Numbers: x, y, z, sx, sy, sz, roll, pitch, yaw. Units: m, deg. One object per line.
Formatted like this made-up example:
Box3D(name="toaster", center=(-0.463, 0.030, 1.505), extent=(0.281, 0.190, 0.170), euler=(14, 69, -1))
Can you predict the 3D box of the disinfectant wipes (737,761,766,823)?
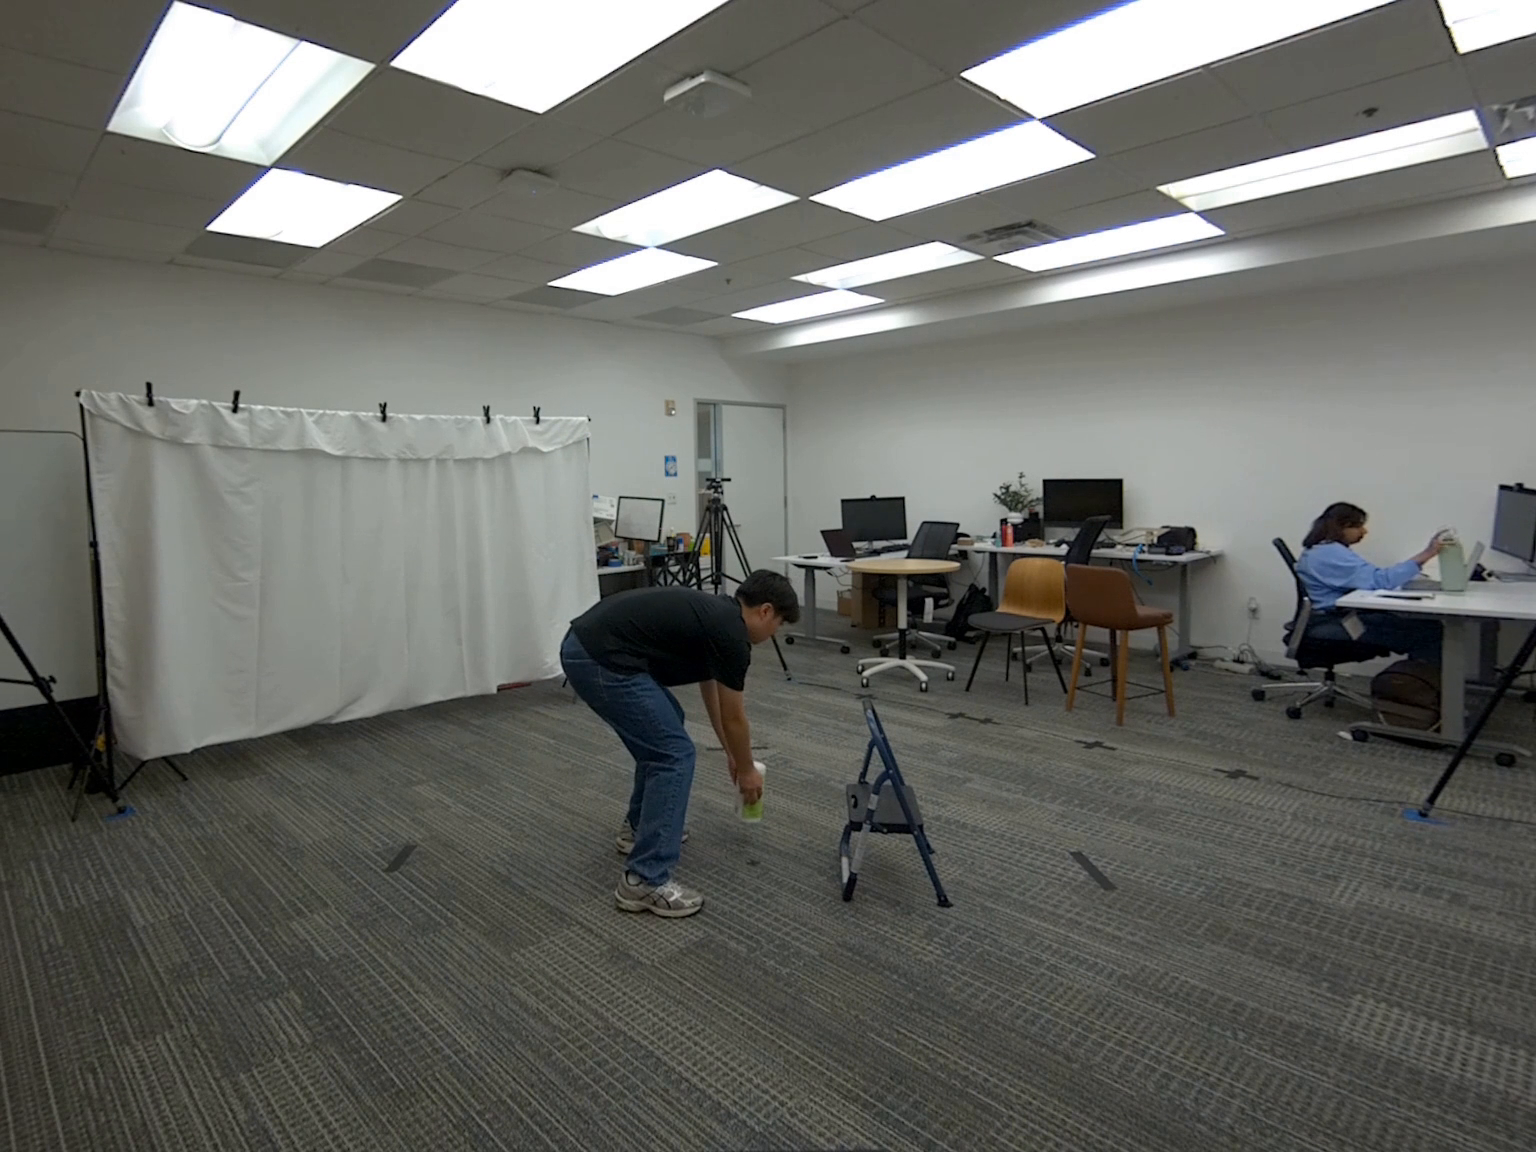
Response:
Box3D(name="disinfectant wipes", center=(-0.074, 0.839, 3.311), extent=(0.117, 0.217, 0.118), euler=(6, 4, -2))
